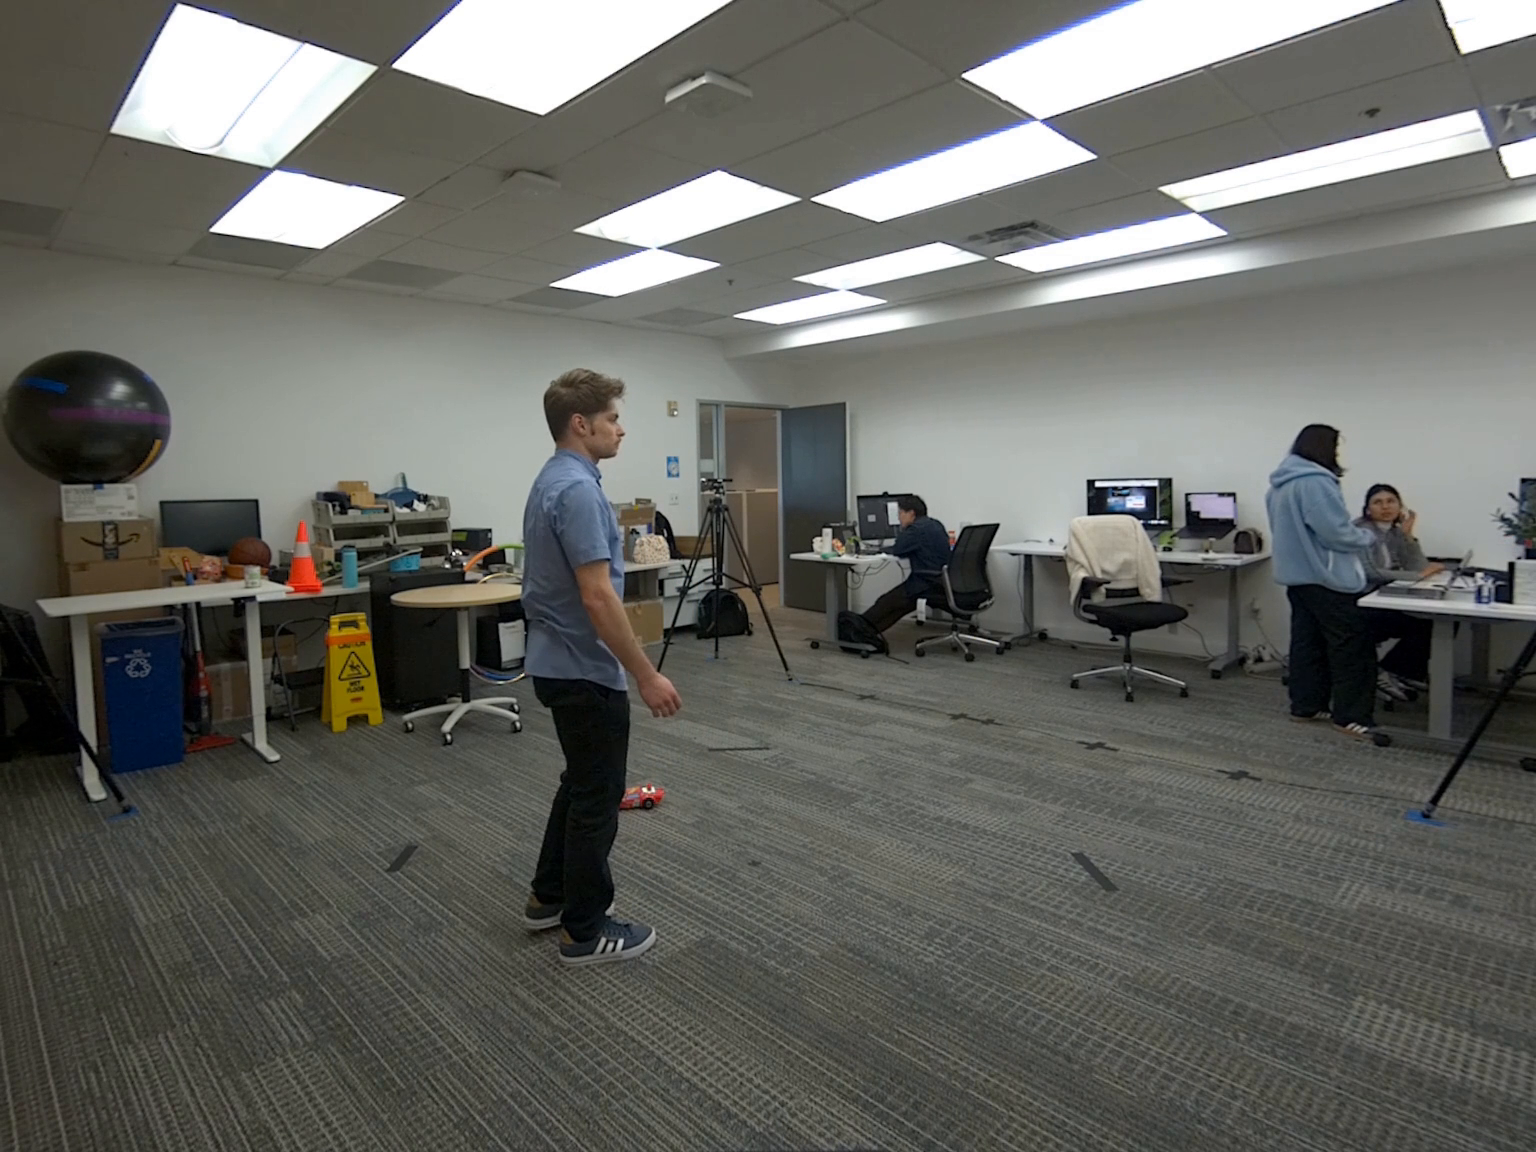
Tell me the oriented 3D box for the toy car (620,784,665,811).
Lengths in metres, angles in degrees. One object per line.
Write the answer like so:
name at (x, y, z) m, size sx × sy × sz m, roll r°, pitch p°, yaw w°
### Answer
toy car at (-0.565, 0.955, 3.679) m, size 0.253 × 0.082 × 0.132 m, roll -14°, pitch 9°, yaw -8°
